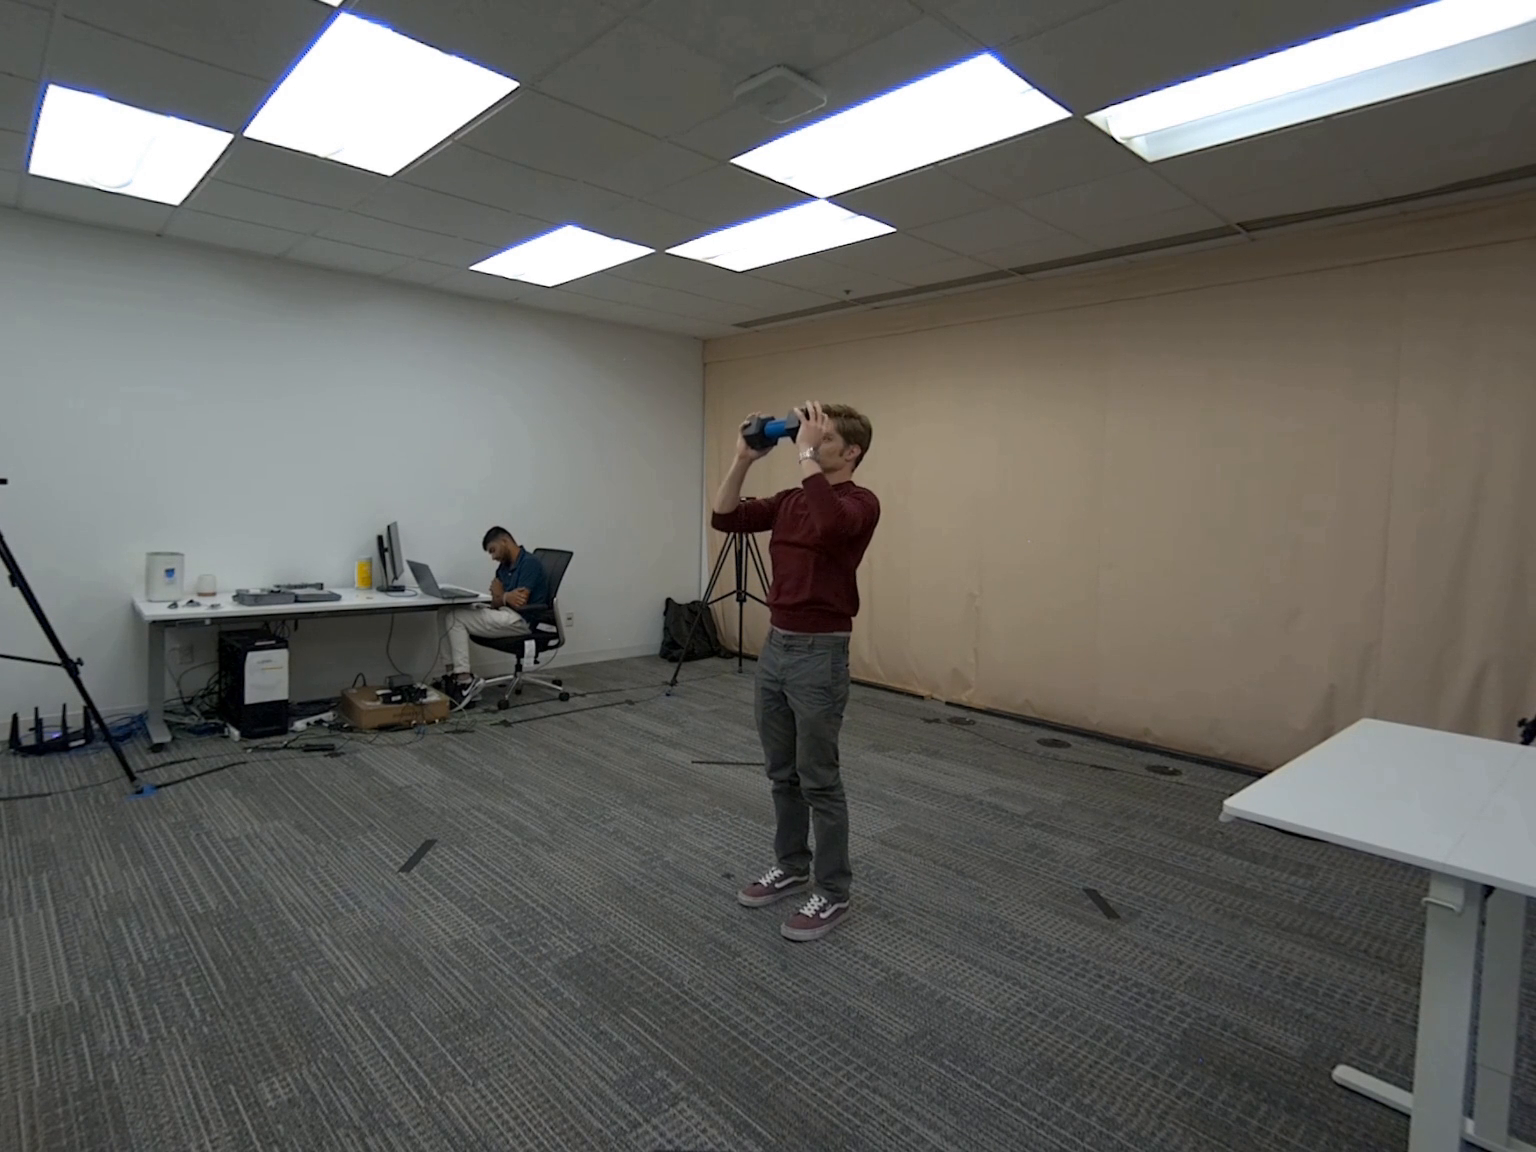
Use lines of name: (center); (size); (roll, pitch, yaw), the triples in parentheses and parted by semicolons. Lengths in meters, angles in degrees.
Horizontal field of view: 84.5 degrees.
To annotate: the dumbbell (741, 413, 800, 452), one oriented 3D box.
dumbbell: (0.050, -0.482, 2.724); (0.106, 0.124, 0.300); (24, -15, -34)
